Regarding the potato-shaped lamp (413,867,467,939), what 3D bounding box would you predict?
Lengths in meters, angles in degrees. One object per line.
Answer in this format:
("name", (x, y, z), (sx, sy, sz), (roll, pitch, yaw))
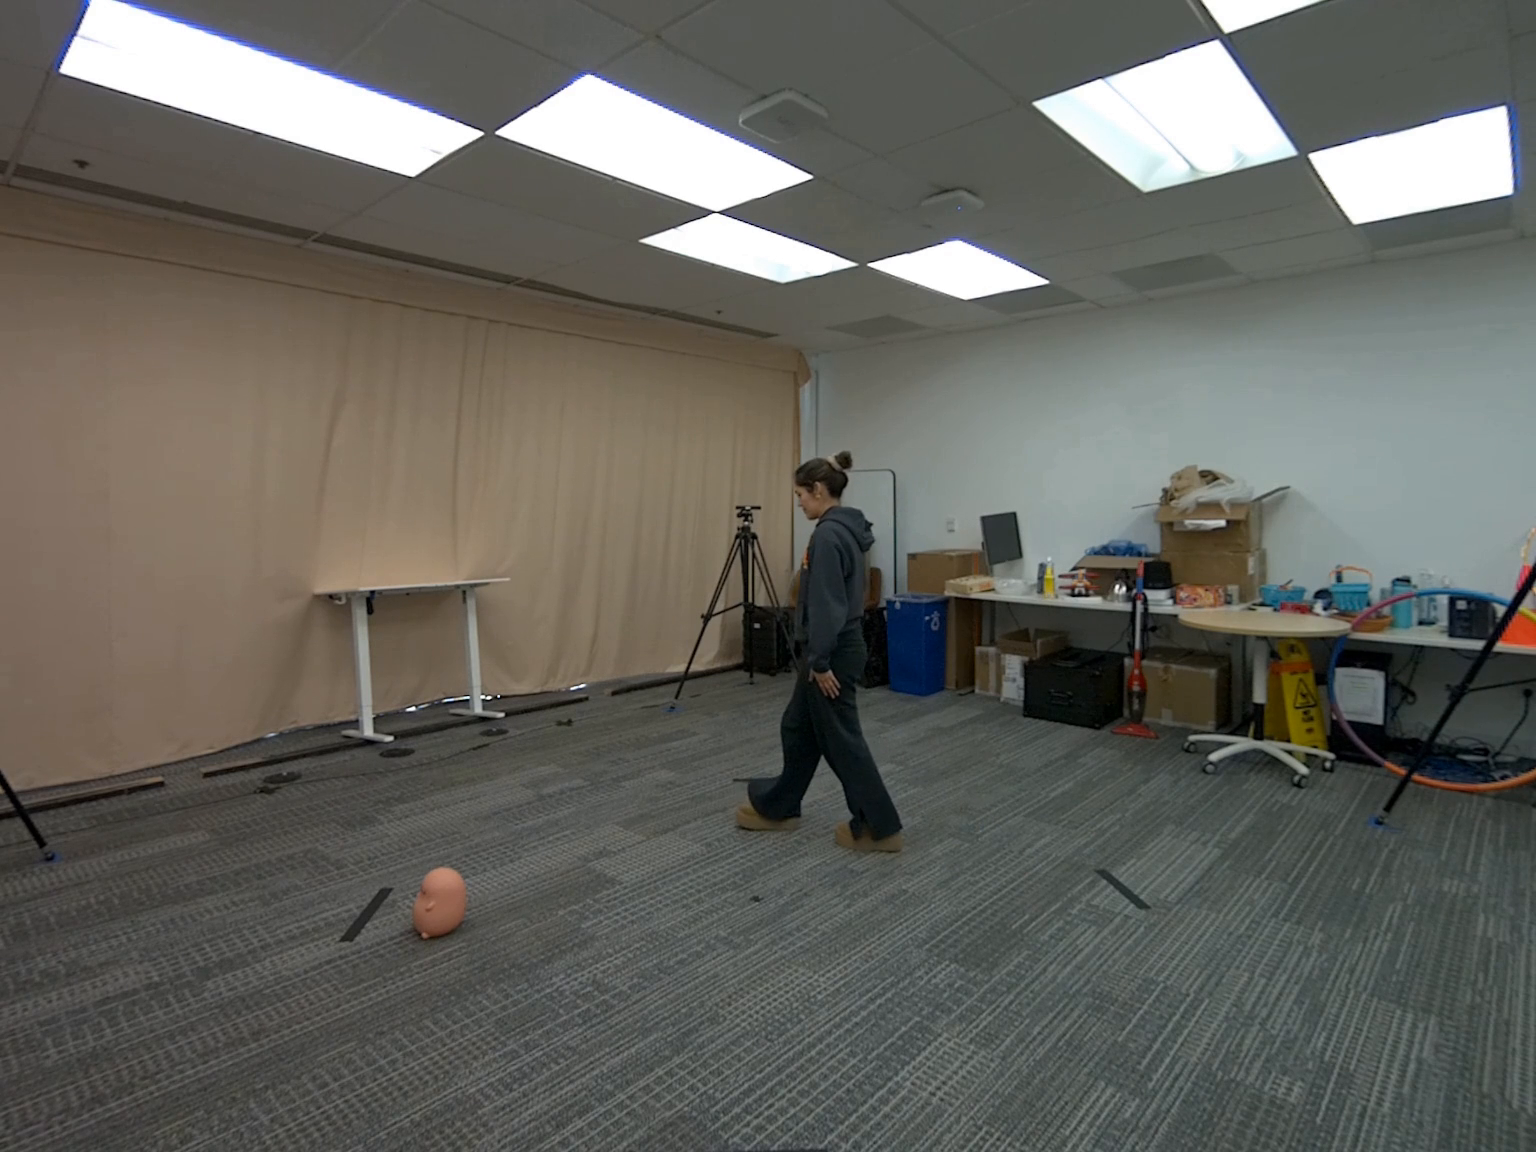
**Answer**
("potato-shaped lamp", (-1.070, 1.082, 2.788), (0.166, 0.198, 0.169), (-1, 1, -34))
